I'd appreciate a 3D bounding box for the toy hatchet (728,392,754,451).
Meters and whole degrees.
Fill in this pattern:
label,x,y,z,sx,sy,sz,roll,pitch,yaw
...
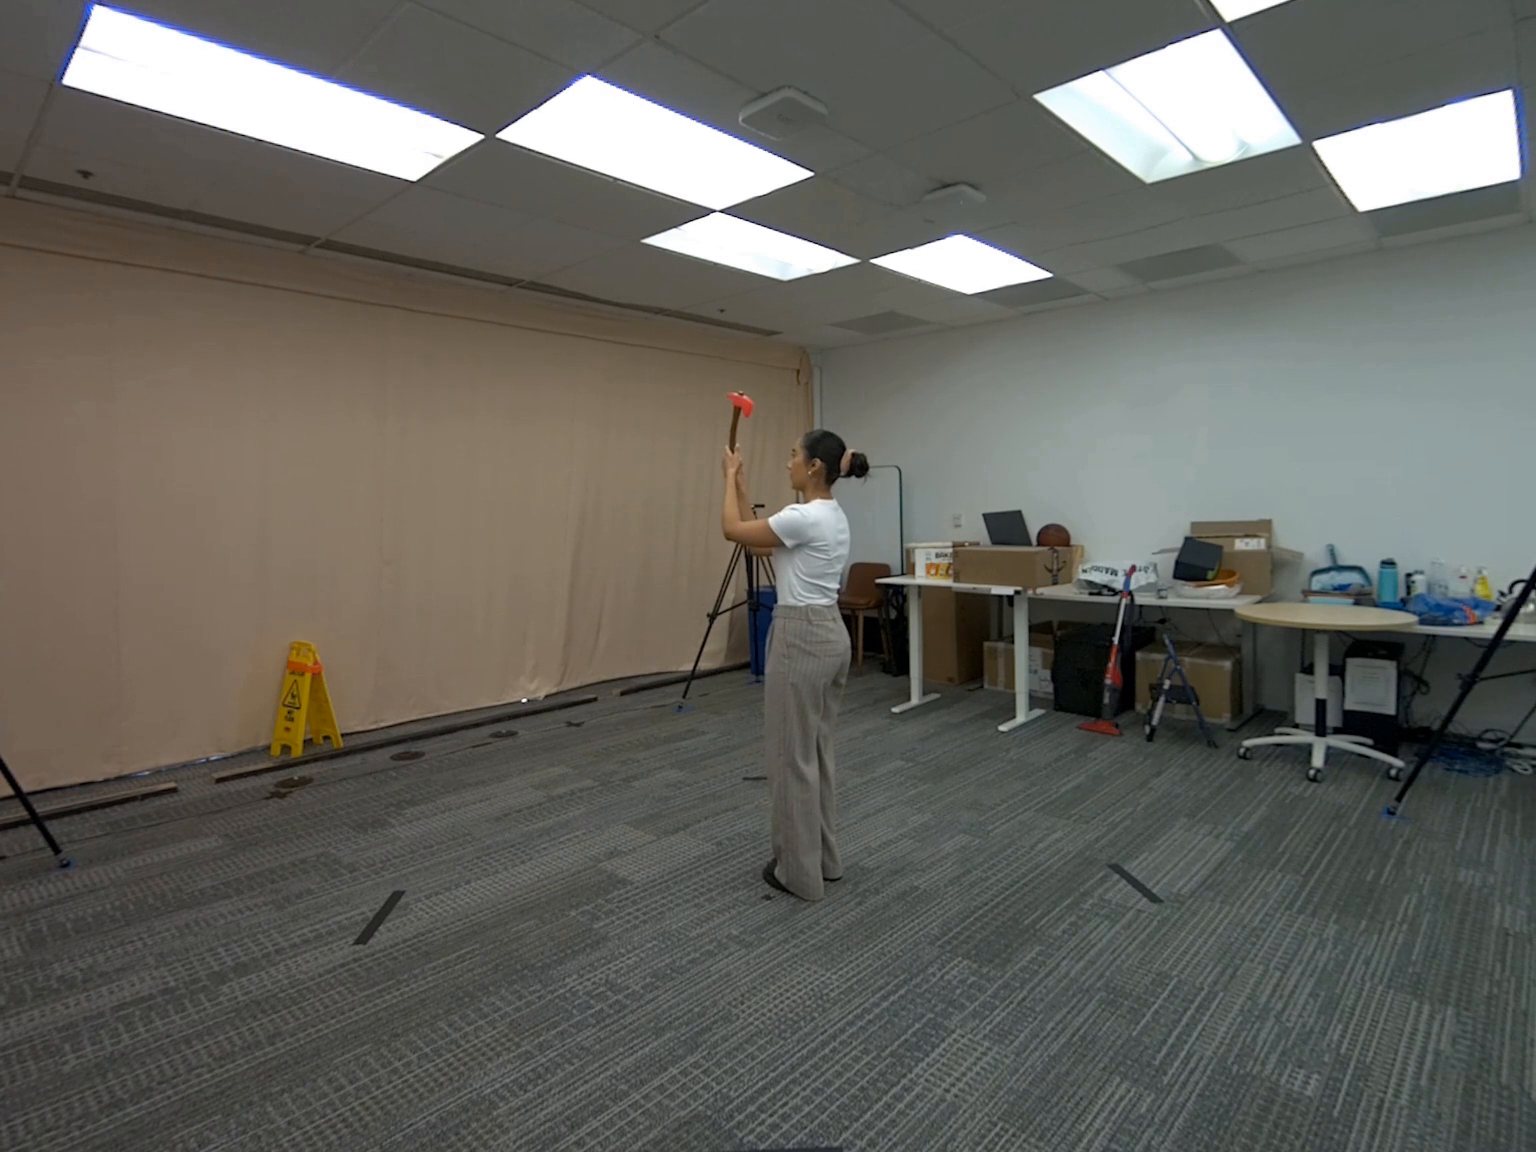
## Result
label,x,y,z,sx,sy,sz,roll,pitch,yaw
toy hatchet,-0.091,-0.549,3.122,0.135,0.268,0.029,7,15,39
